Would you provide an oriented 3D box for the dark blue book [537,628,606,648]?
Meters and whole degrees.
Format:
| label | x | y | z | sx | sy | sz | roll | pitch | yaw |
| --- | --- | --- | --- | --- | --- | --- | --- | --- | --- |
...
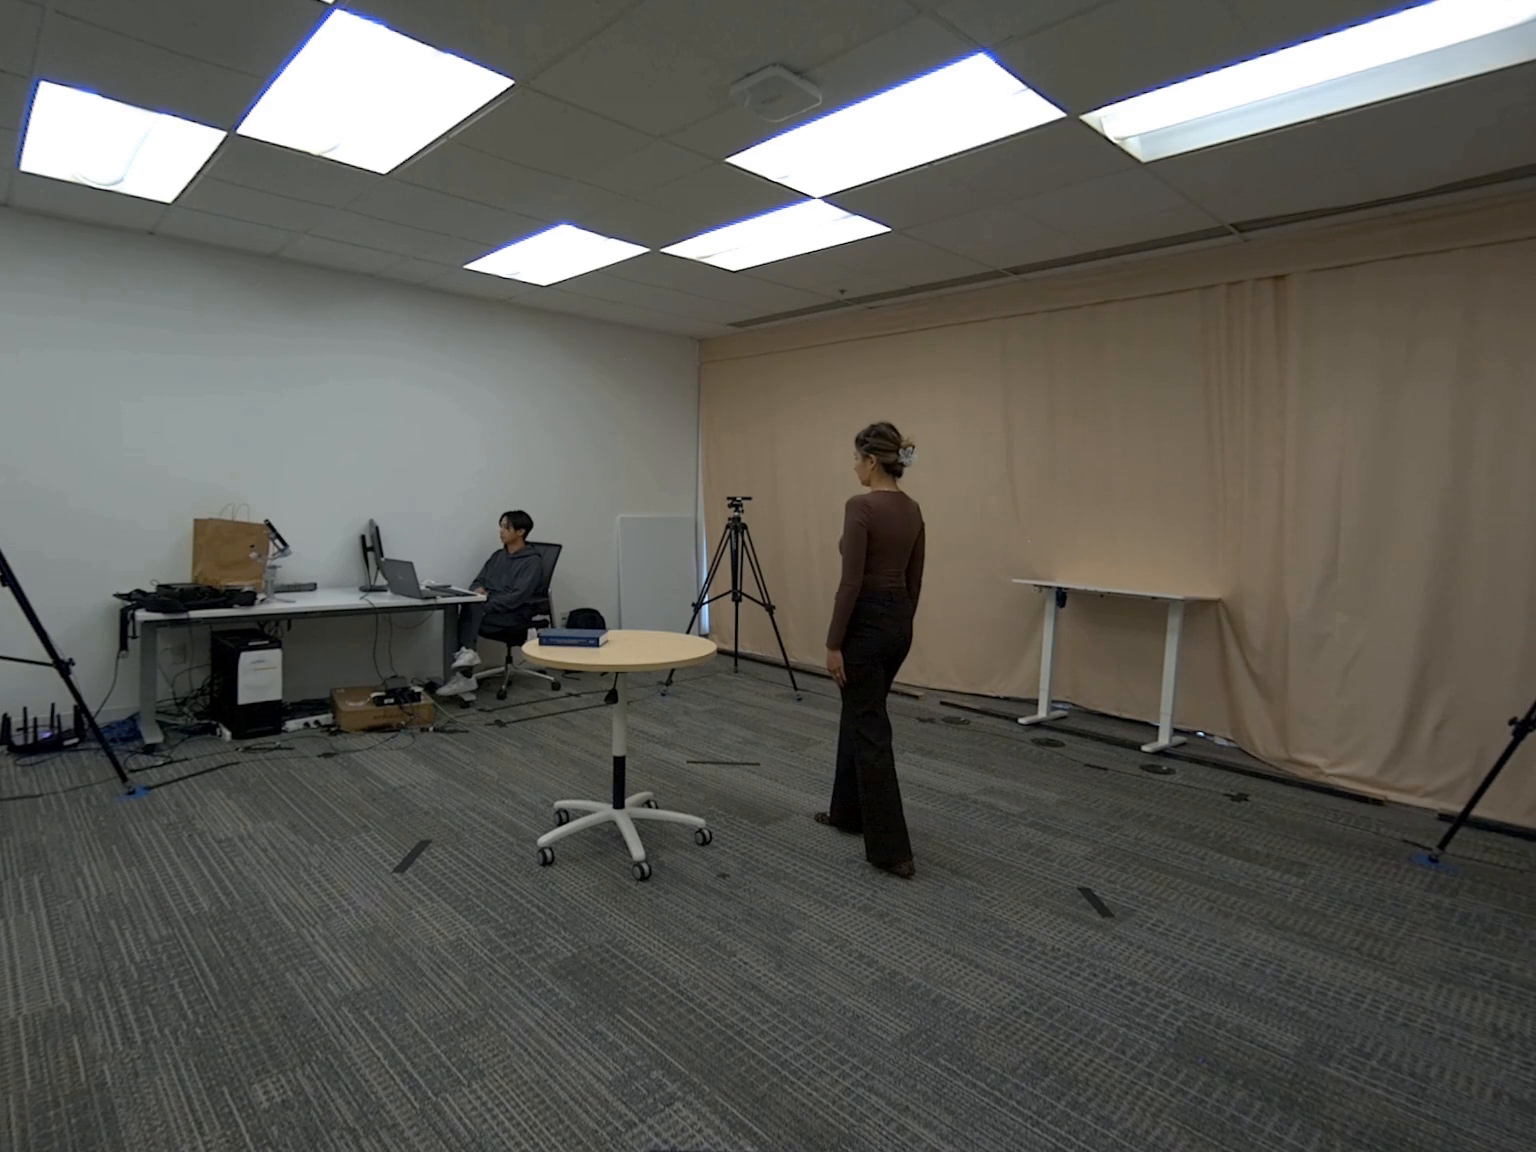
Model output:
| label | x | y | z | sx | sy | sz | roll | pitch | yaw |
| --- | --- | --- | --- | --- | --- | --- | --- | --- | --- |
| dark blue book | -0.787 | 0.248 | 3.373 | 0.246 | 0.045 | 0.163 | 1 | 5 | 3 |
